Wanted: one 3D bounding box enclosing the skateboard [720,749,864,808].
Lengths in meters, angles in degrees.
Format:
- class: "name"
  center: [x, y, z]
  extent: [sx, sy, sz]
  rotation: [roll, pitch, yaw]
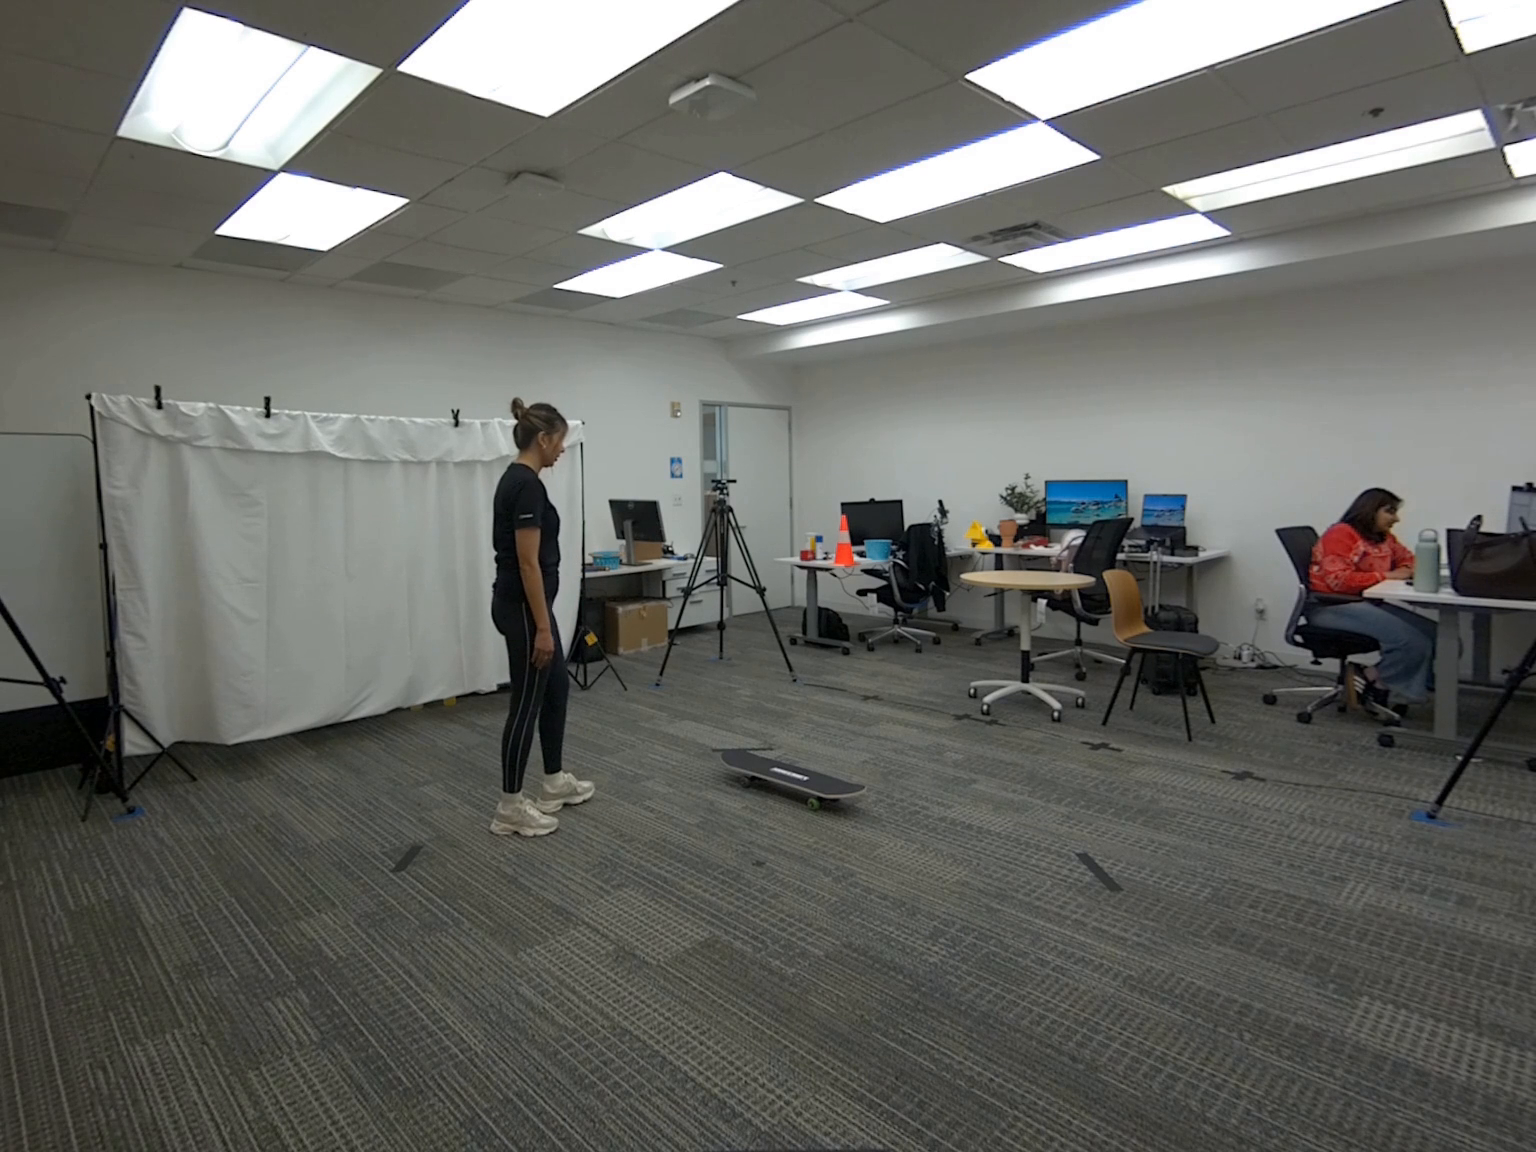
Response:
- class: "skateboard"
  center: [0.097, 0.915, 3.798]
  extent: [0.810, 0.110, 0.188]
  rotation: [6, 9, 43]
